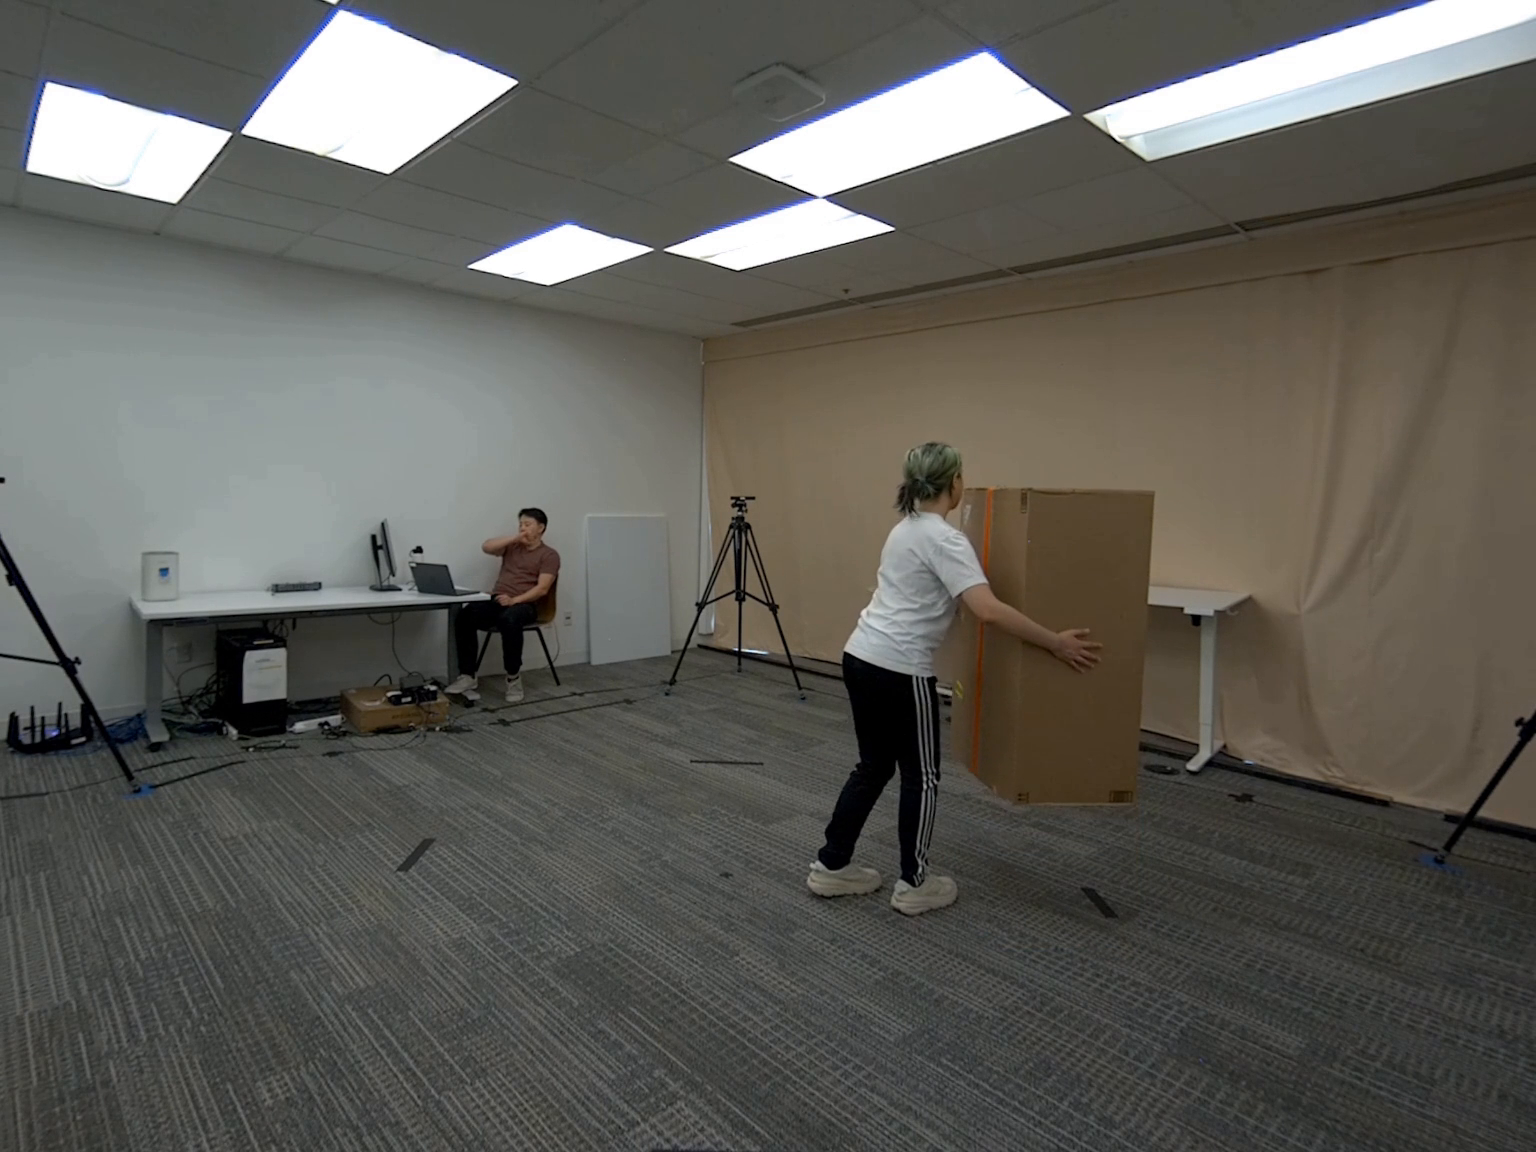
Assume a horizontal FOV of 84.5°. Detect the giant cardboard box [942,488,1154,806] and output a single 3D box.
[{"bbox_3d":[0.961,0.216,2.960,0.444,1.024,0.589,2,3,-8],"label":"giant cardboard box"}]
